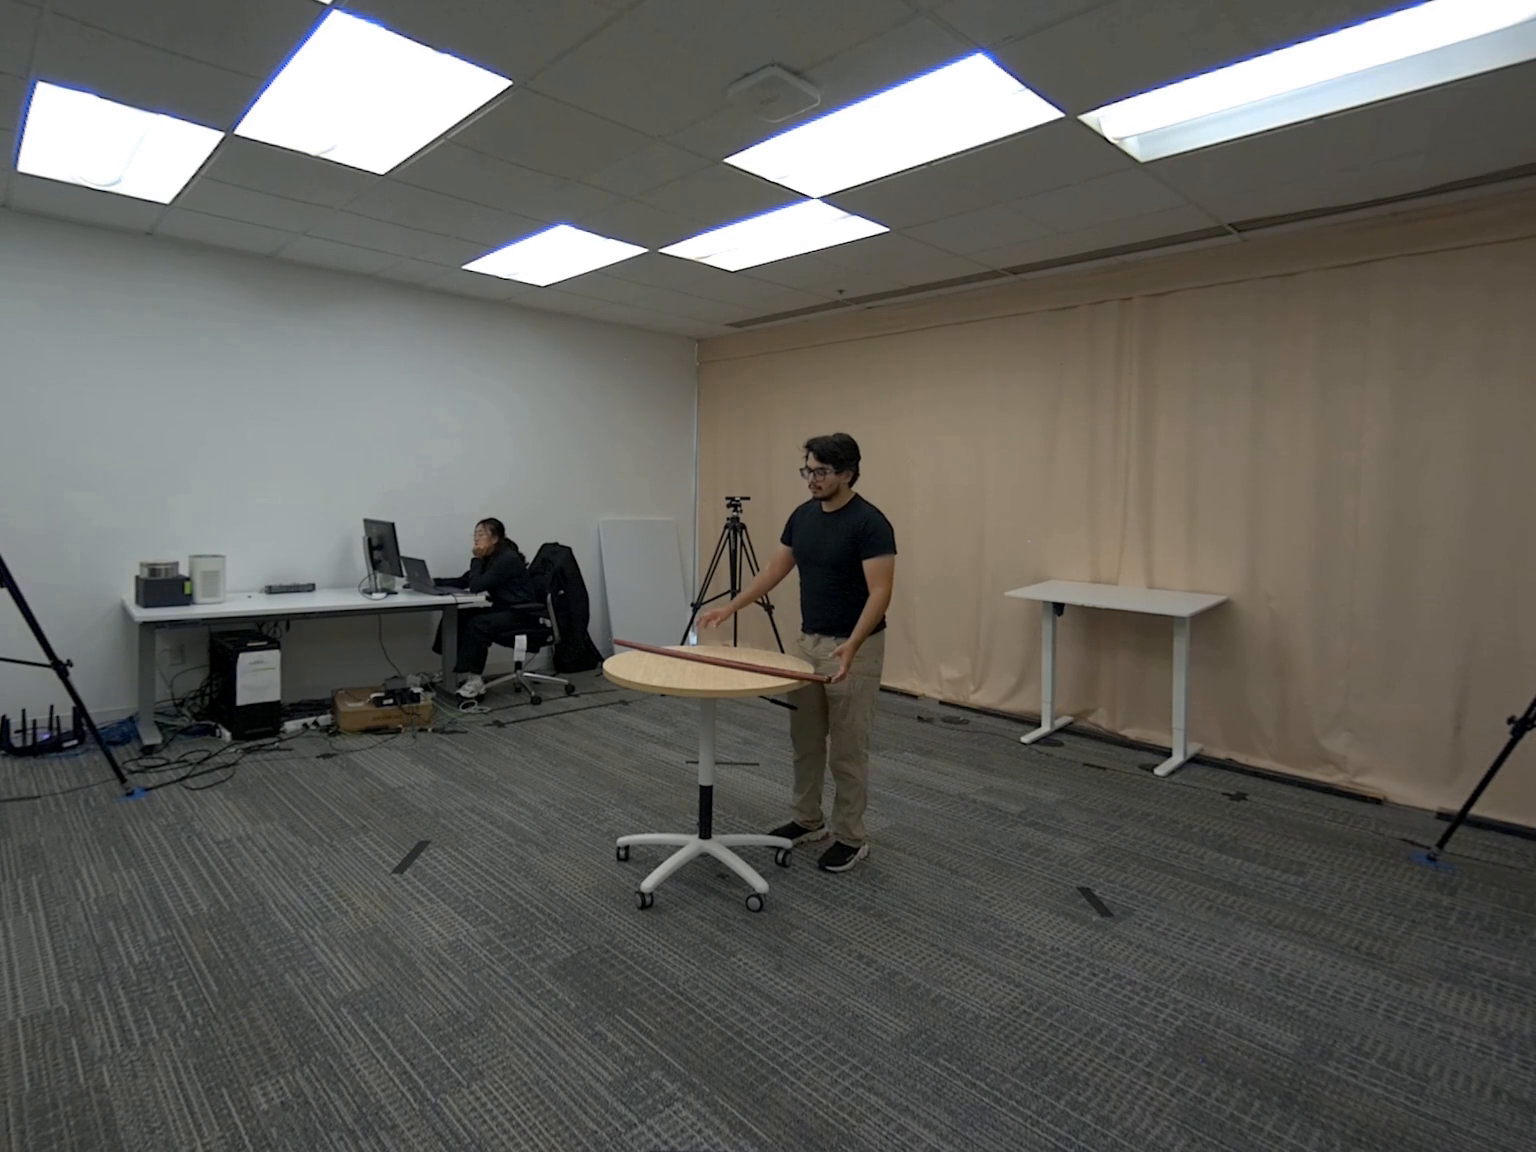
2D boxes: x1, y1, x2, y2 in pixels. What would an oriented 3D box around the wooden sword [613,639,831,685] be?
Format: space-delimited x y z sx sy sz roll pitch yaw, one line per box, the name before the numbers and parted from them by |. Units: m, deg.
wooden sword | -0.229 0.301 3.114 1.049 0.052 0.023 4 -25 35
